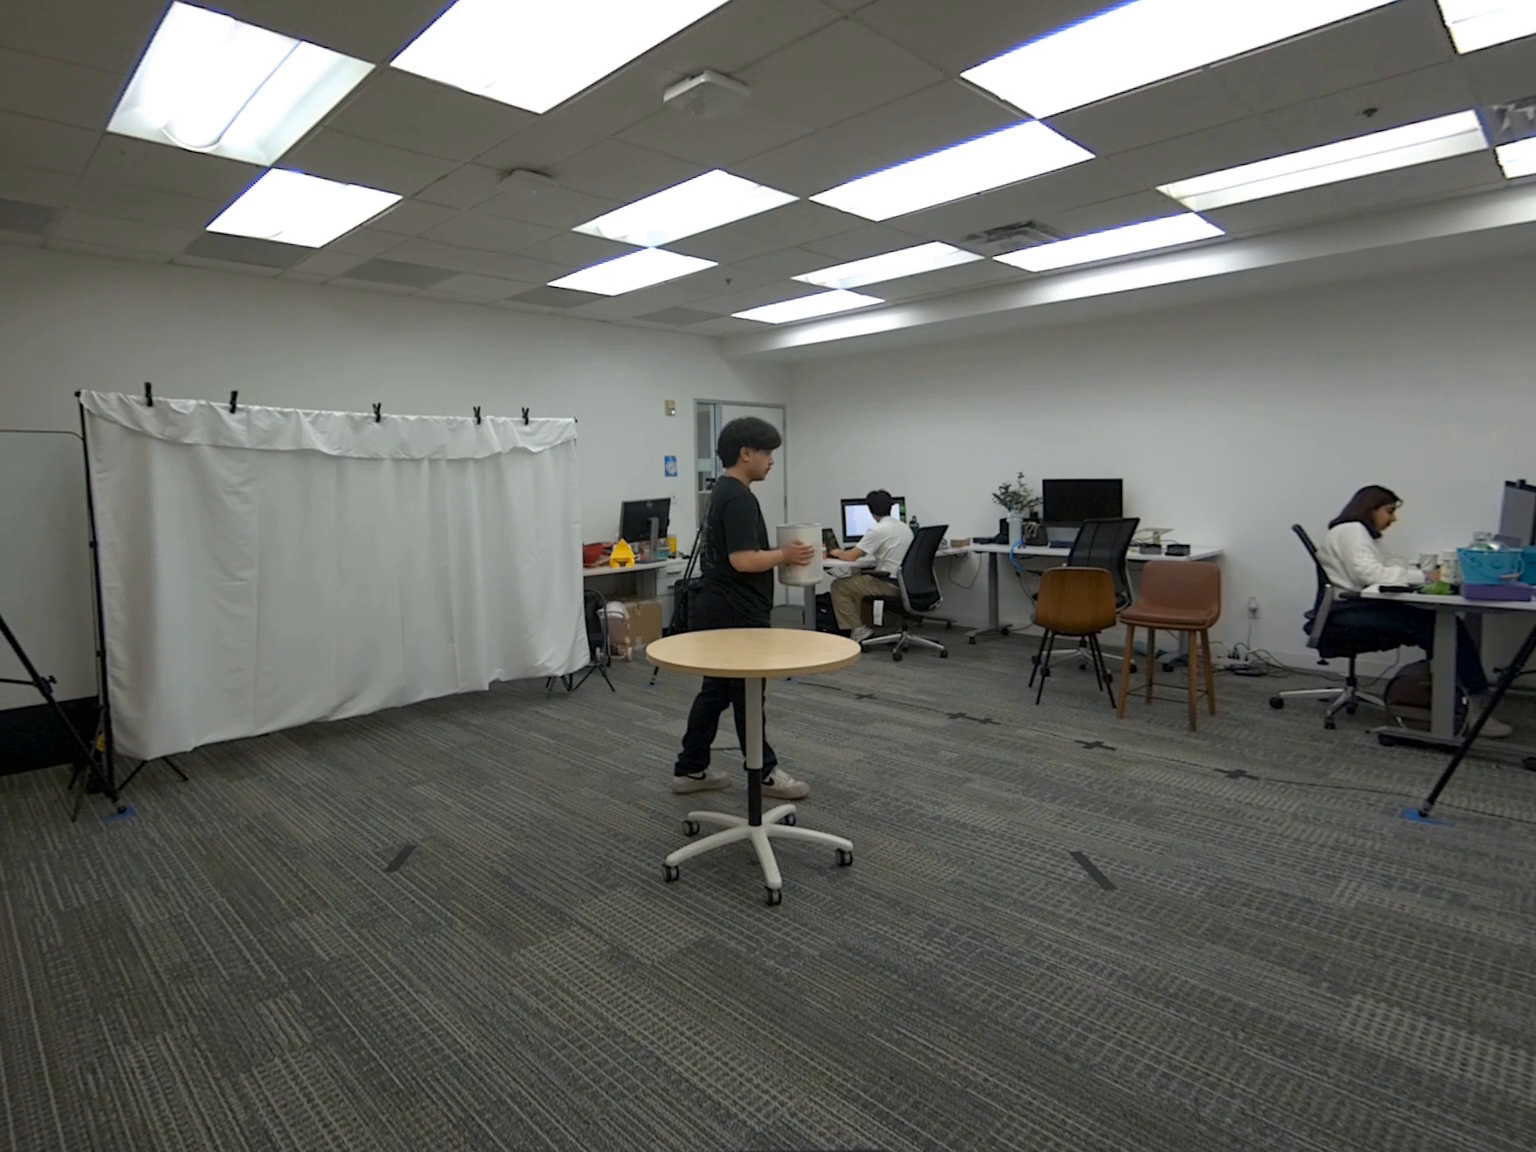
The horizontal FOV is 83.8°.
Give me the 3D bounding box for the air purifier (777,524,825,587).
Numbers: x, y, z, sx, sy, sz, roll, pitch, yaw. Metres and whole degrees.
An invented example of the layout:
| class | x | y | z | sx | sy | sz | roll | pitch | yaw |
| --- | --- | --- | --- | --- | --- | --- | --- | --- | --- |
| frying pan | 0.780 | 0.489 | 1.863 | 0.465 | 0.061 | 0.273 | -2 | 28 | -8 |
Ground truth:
| class | x | y | z | sx | sy | sz | roll | pitch | yaw |
| --- | --- | --- | --- | --- | --- | --- | --- | --- | --- |
| air purifier | 0.131 | -0.094 | 3.772 | 0.176 | 0.264 | 0.167 | 4 | 8 | 42 |
